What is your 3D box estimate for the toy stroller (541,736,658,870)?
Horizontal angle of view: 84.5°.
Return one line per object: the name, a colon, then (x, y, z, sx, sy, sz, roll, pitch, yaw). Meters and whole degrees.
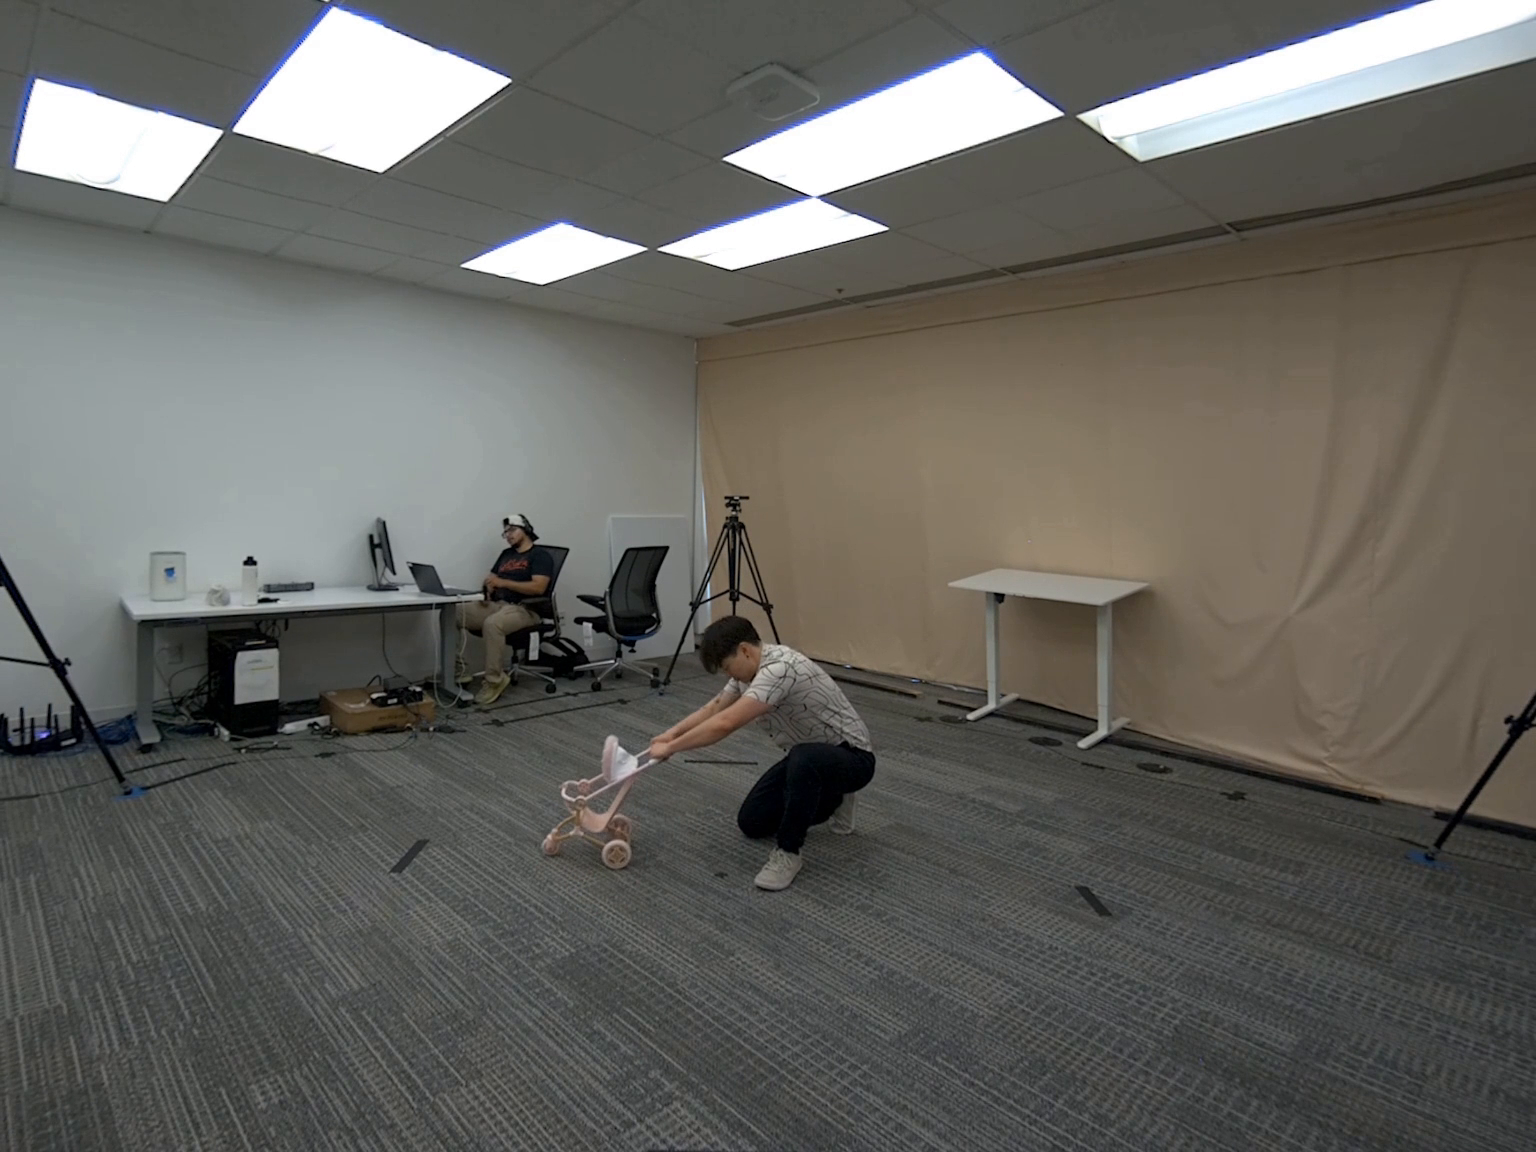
toy stroller: (-0.632, 0.848, 3.244, 0.340, 0.534, 0.283, 18, 3, -4)
